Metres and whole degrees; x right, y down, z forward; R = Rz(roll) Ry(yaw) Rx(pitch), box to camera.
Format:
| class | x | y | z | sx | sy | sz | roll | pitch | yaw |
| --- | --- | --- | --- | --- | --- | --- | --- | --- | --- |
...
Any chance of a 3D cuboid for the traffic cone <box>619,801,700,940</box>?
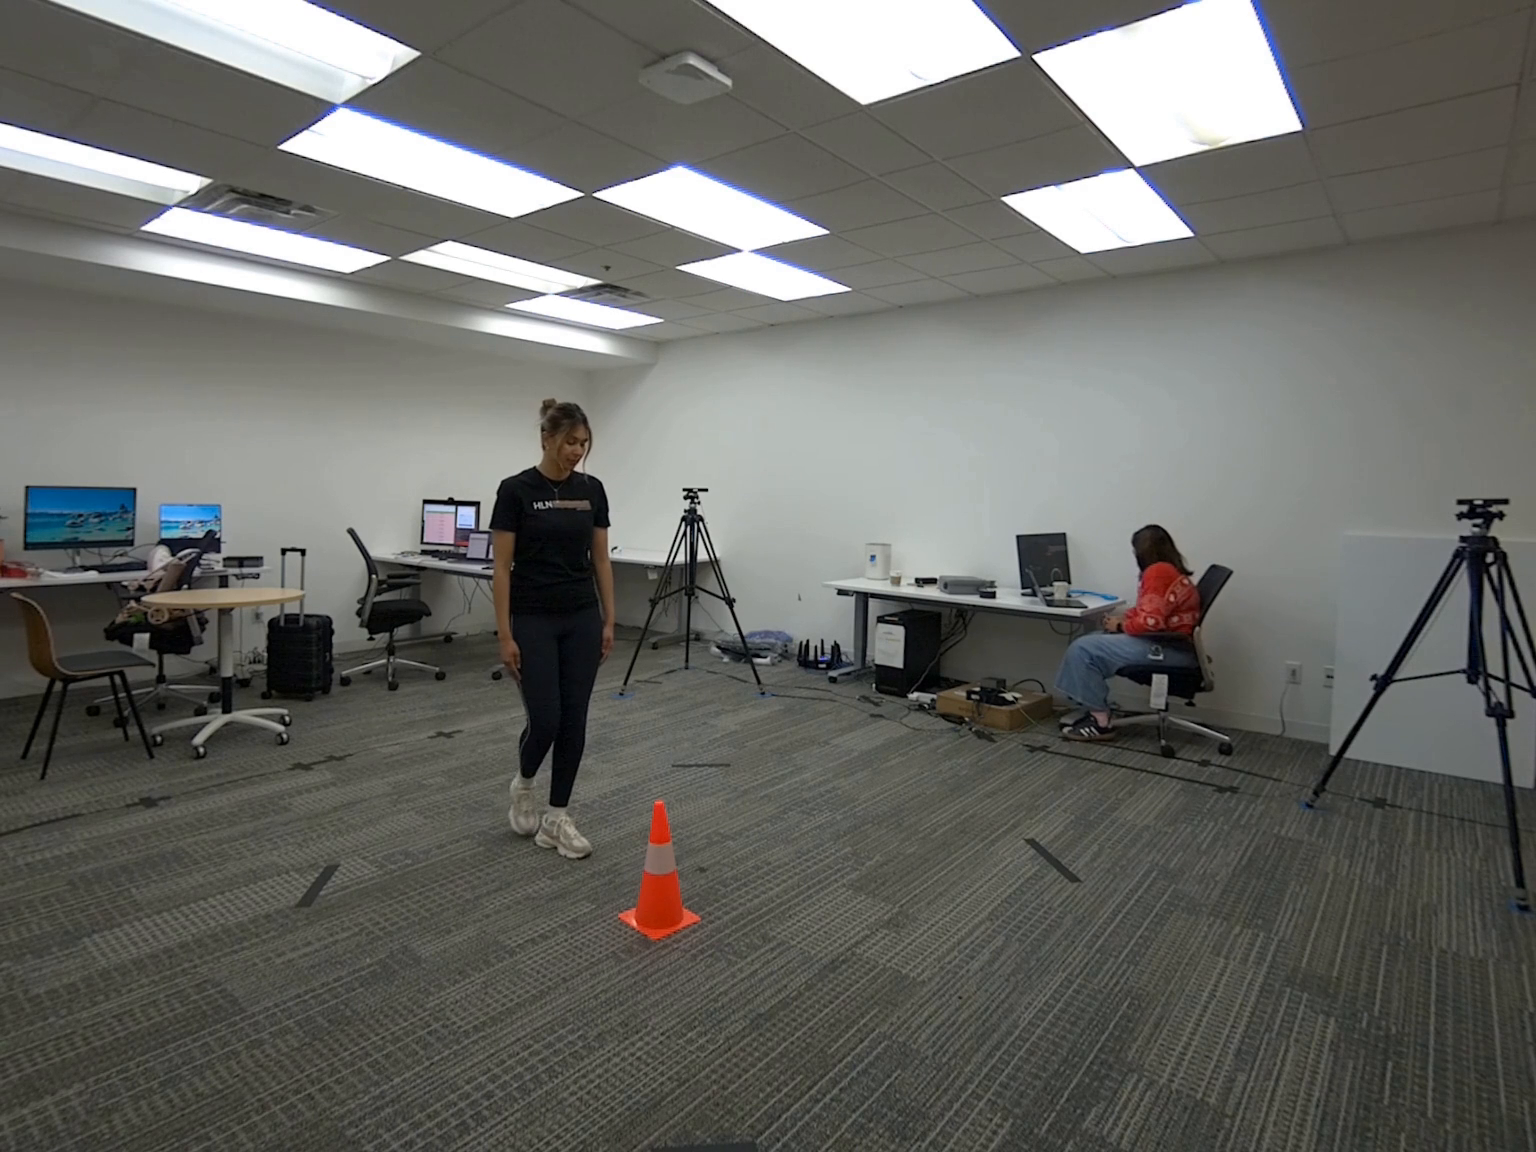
| class | x | y | z | sx | sy | sz | roll | pitch | yaw |
| --- | --- | --- | --- | --- | --- | --- | --- | --- | --- |
| traffic cone | -0.351 | 0.921 | 2.736 | 0.210 | 0.382 | 0.199 | 4 | 4 | 36 |
